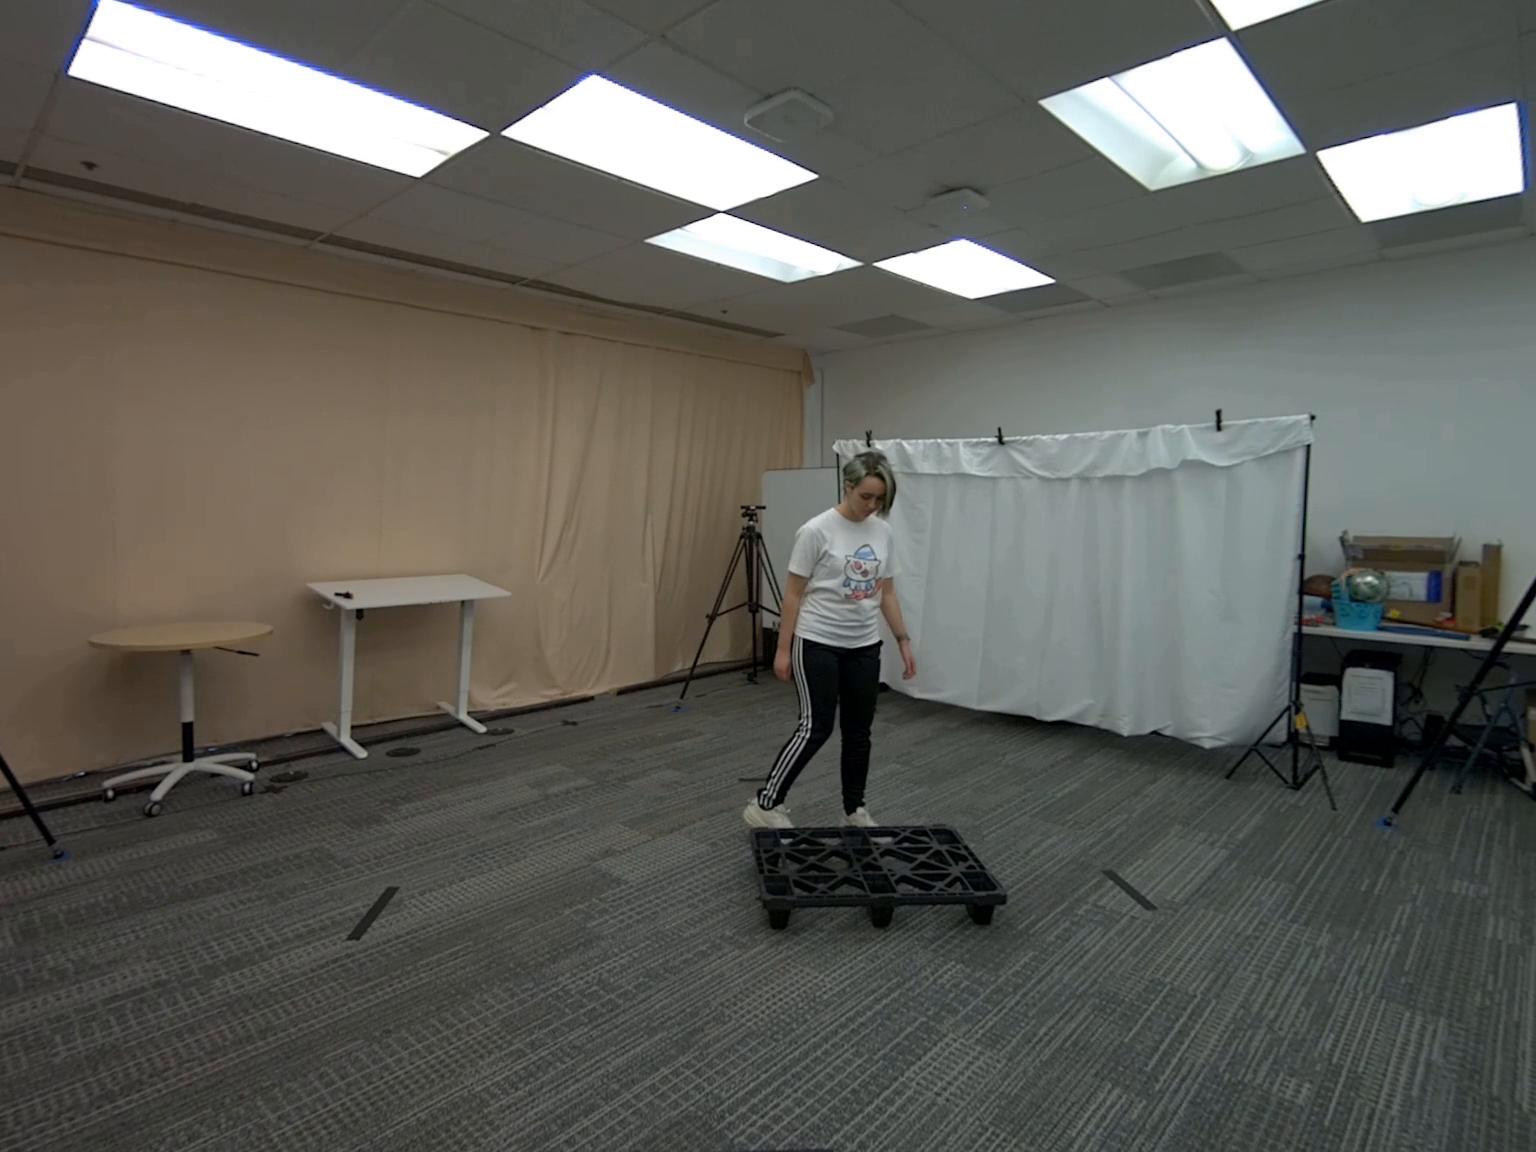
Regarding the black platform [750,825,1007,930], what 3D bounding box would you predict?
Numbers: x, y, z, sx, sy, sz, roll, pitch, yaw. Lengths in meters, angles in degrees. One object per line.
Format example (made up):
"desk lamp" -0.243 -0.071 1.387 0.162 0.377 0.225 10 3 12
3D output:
"black platform" 0.353 1.069 3.011 0.804 0.143 0.608 0 4 -3
